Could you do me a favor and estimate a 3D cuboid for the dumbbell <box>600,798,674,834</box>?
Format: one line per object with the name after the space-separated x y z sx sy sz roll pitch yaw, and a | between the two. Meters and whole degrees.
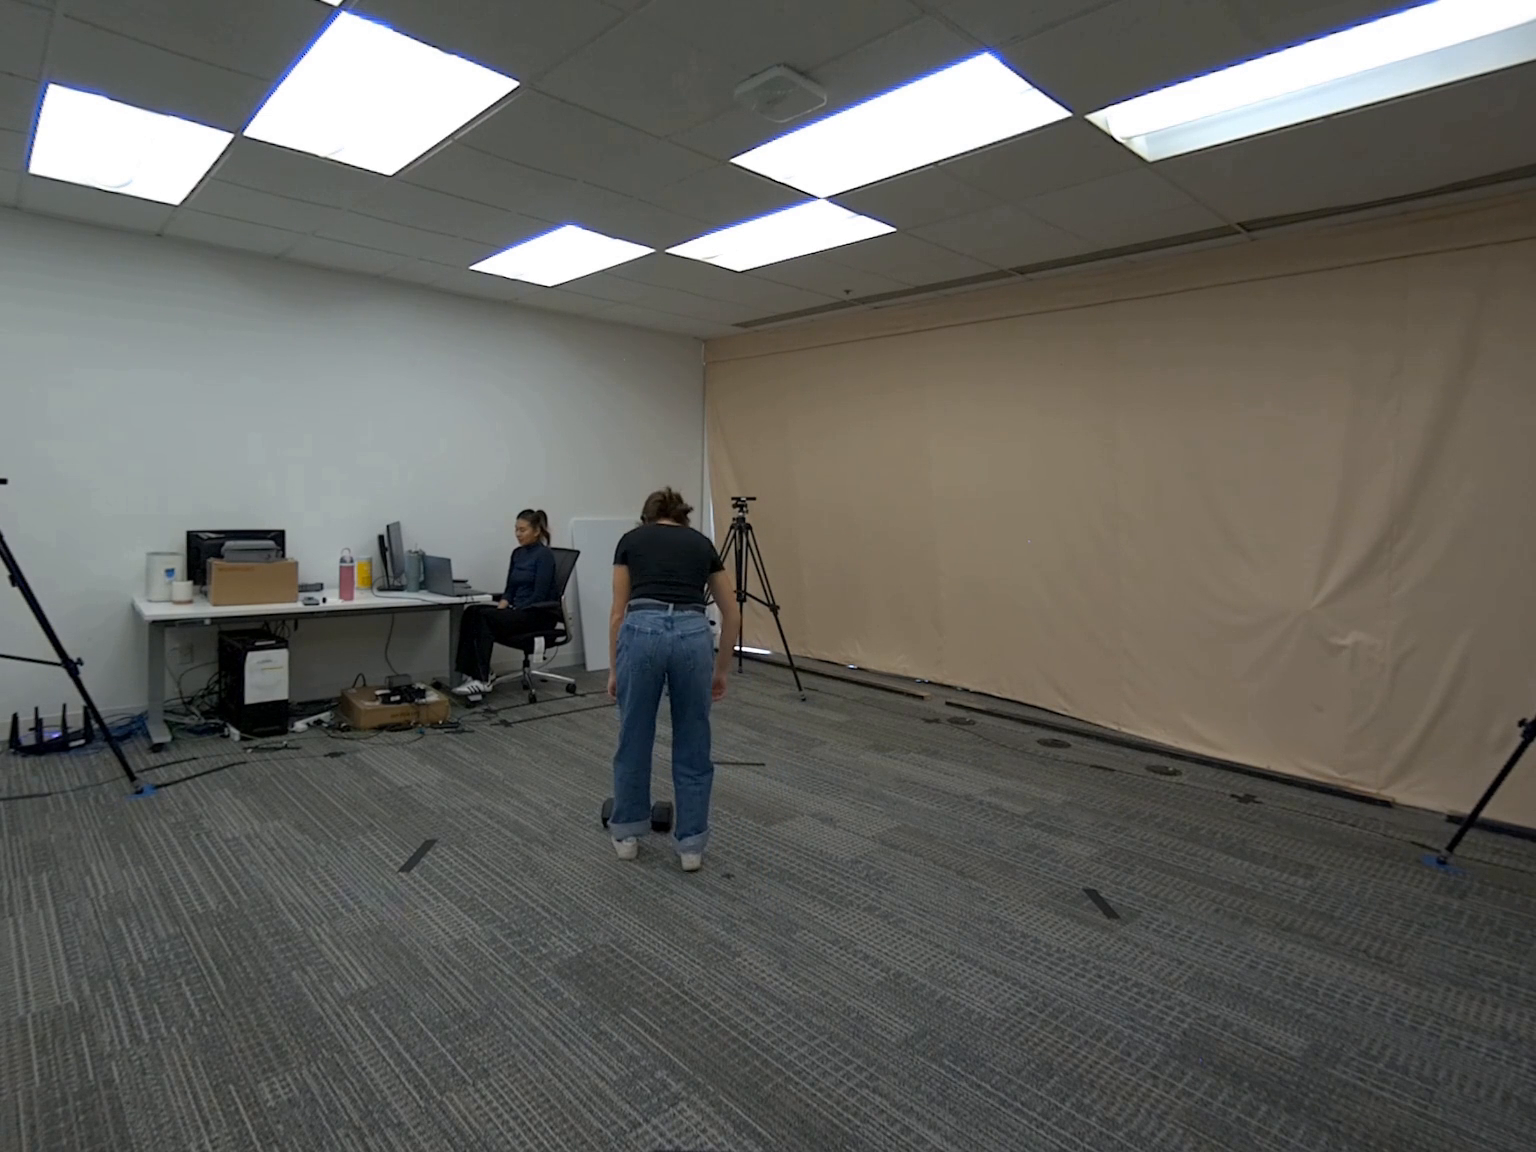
-0.558 1.010 3.541 0.295 0.125 0.106 2 -26 6 | dumbbell
